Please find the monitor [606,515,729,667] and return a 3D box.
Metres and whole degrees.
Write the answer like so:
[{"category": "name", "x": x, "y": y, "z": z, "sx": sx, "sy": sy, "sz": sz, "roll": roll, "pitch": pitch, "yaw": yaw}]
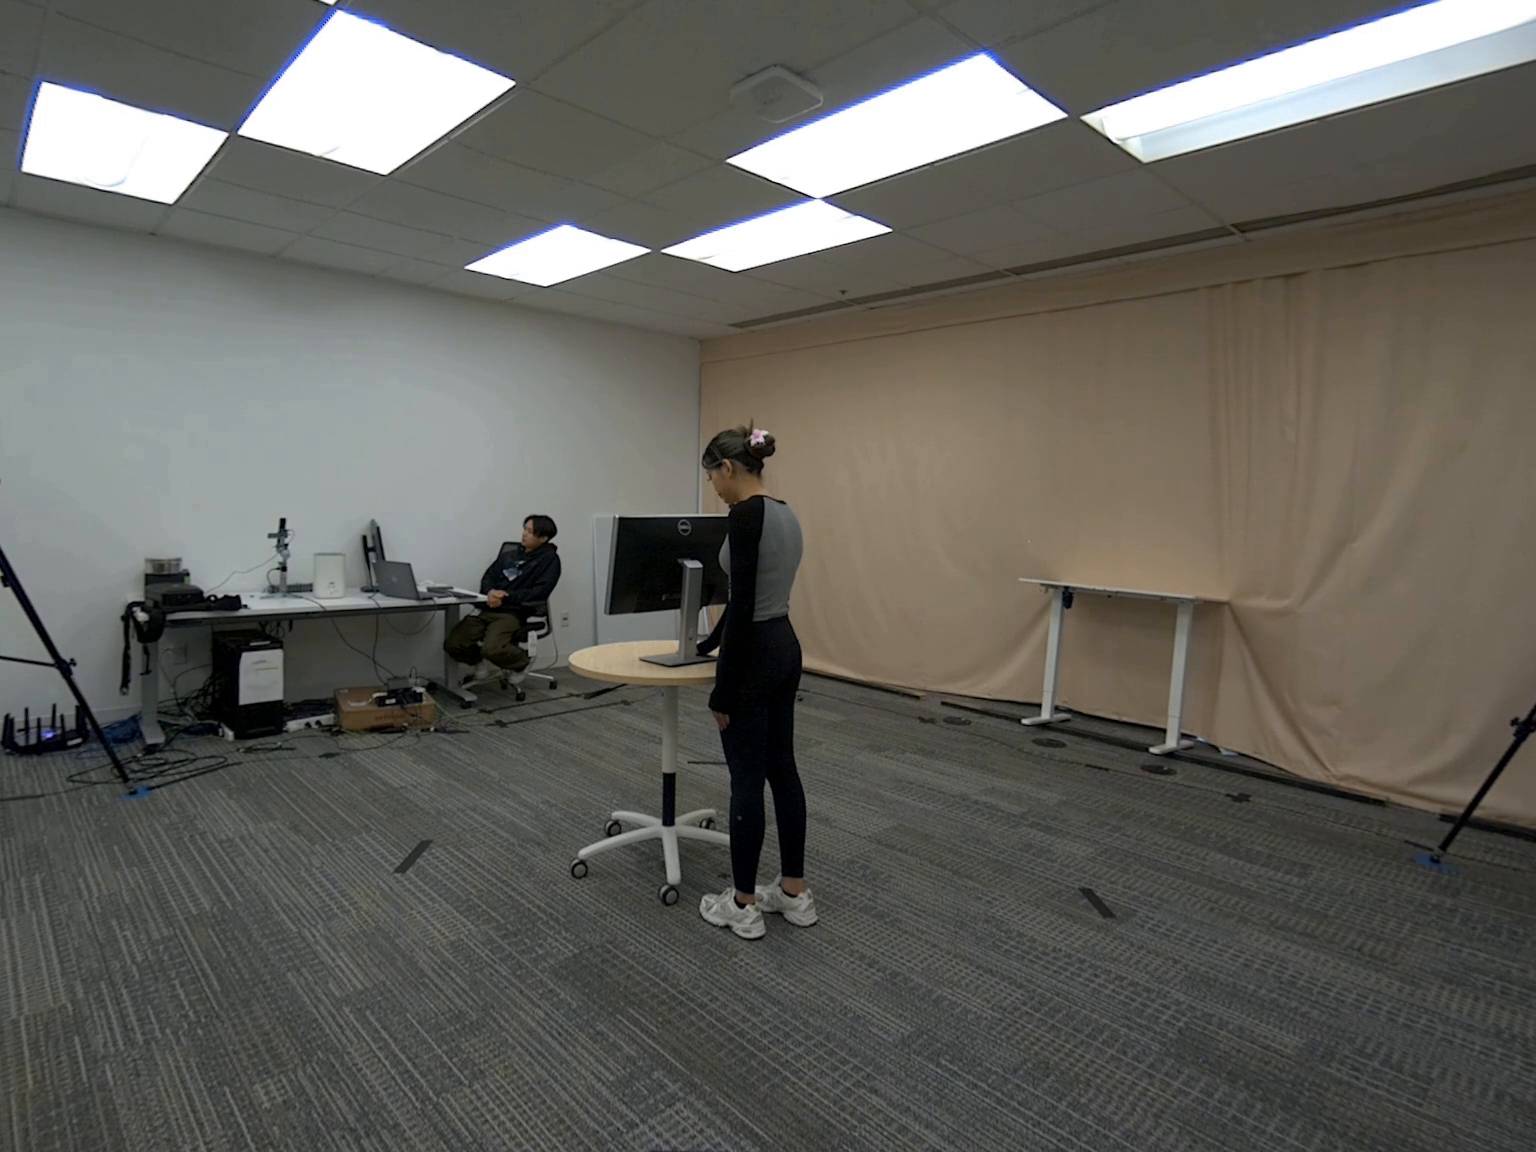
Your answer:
[{"category": "monitor", "x": -0.329, "y": 0.046, "z": 3.111, "sx": 0.527, "sy": 0.521, "sz": 0.192, "roll": -3, "pitch": 4, "yaw": -43}]
